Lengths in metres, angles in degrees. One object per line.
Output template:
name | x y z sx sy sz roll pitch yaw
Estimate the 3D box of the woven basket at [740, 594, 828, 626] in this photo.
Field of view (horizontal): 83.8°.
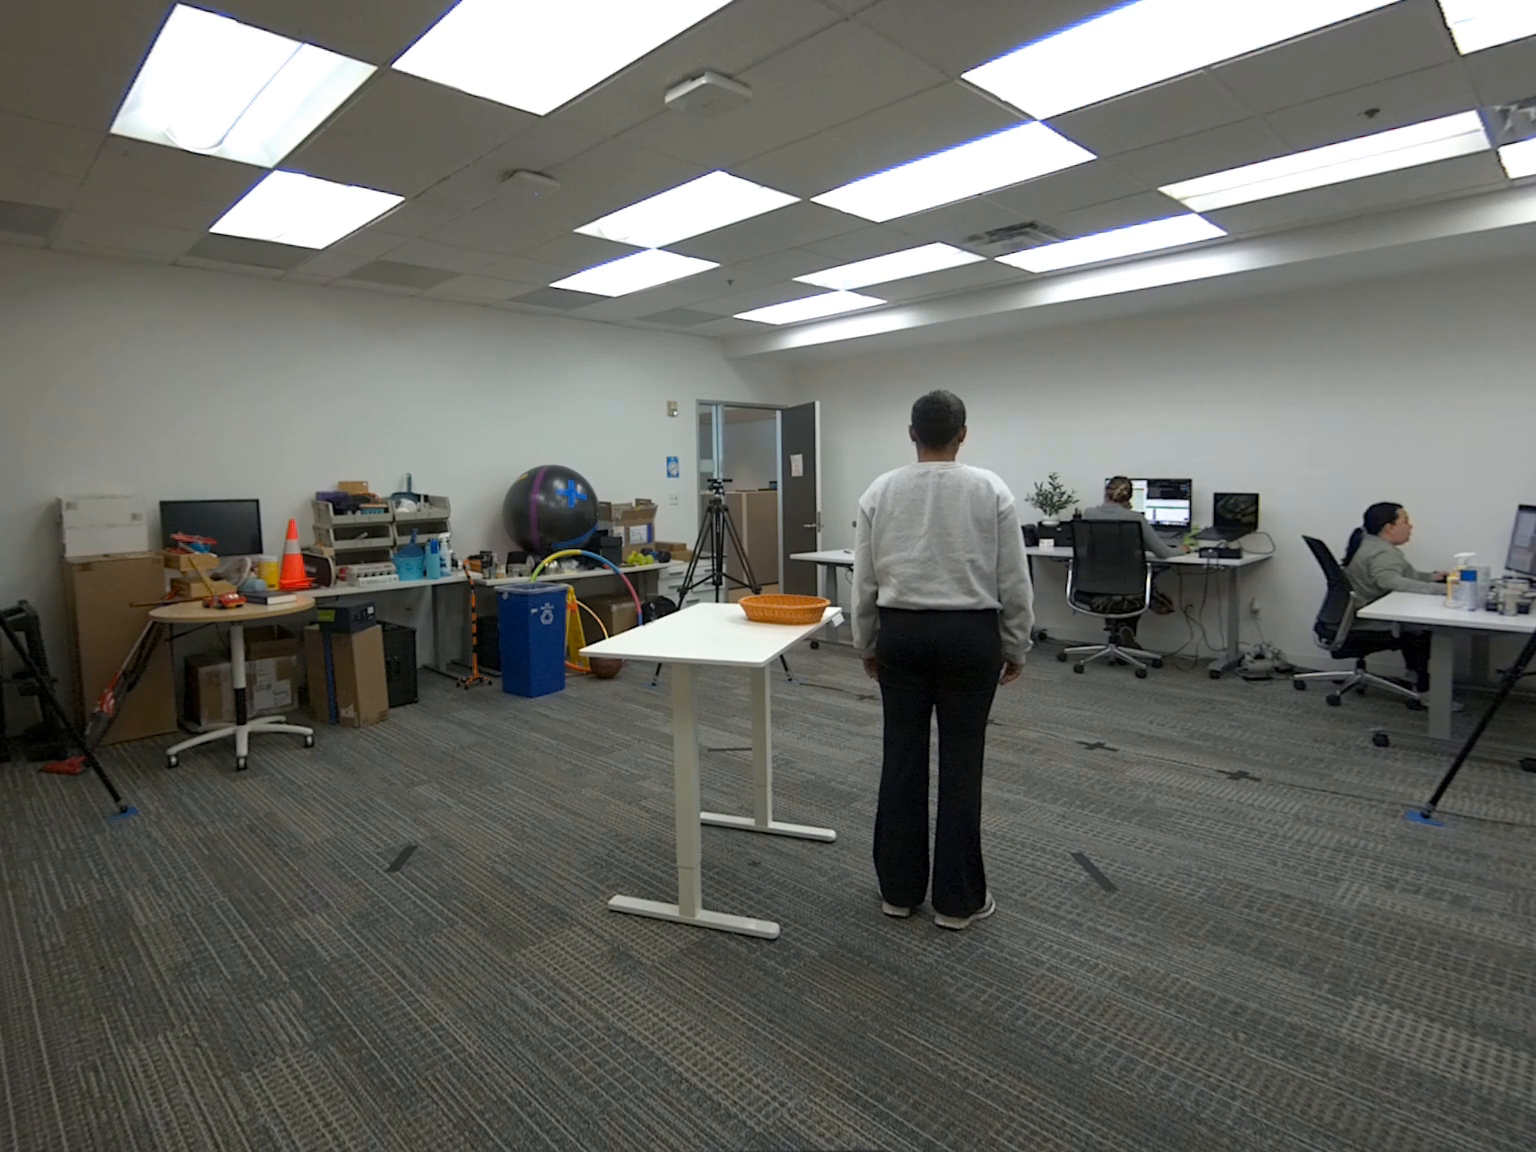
woven basket | 0.056 0.133 3.103 0.360 0.073 0.246 4 8 36
